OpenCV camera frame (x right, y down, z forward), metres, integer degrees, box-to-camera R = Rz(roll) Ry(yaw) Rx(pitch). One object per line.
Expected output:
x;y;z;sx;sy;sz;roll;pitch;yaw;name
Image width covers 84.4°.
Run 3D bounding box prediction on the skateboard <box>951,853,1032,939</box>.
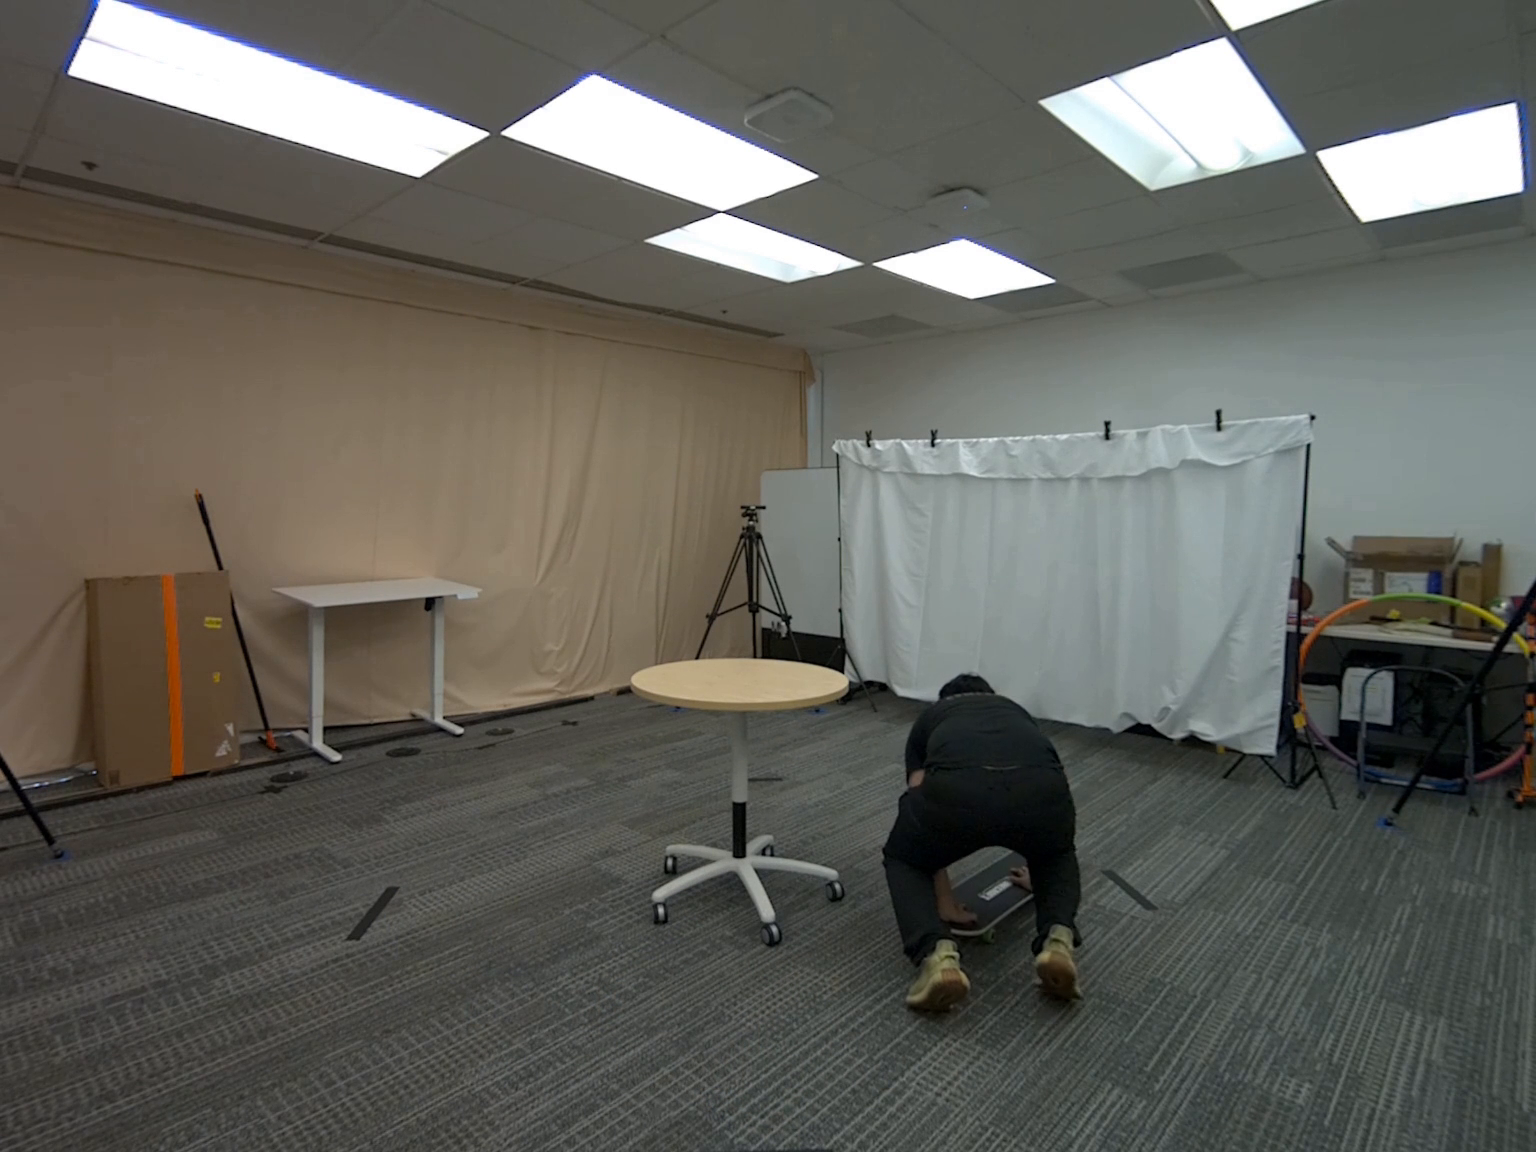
0.786;1.100;2.871;0.200;0.110;0.761;10;10;43;skateboard
